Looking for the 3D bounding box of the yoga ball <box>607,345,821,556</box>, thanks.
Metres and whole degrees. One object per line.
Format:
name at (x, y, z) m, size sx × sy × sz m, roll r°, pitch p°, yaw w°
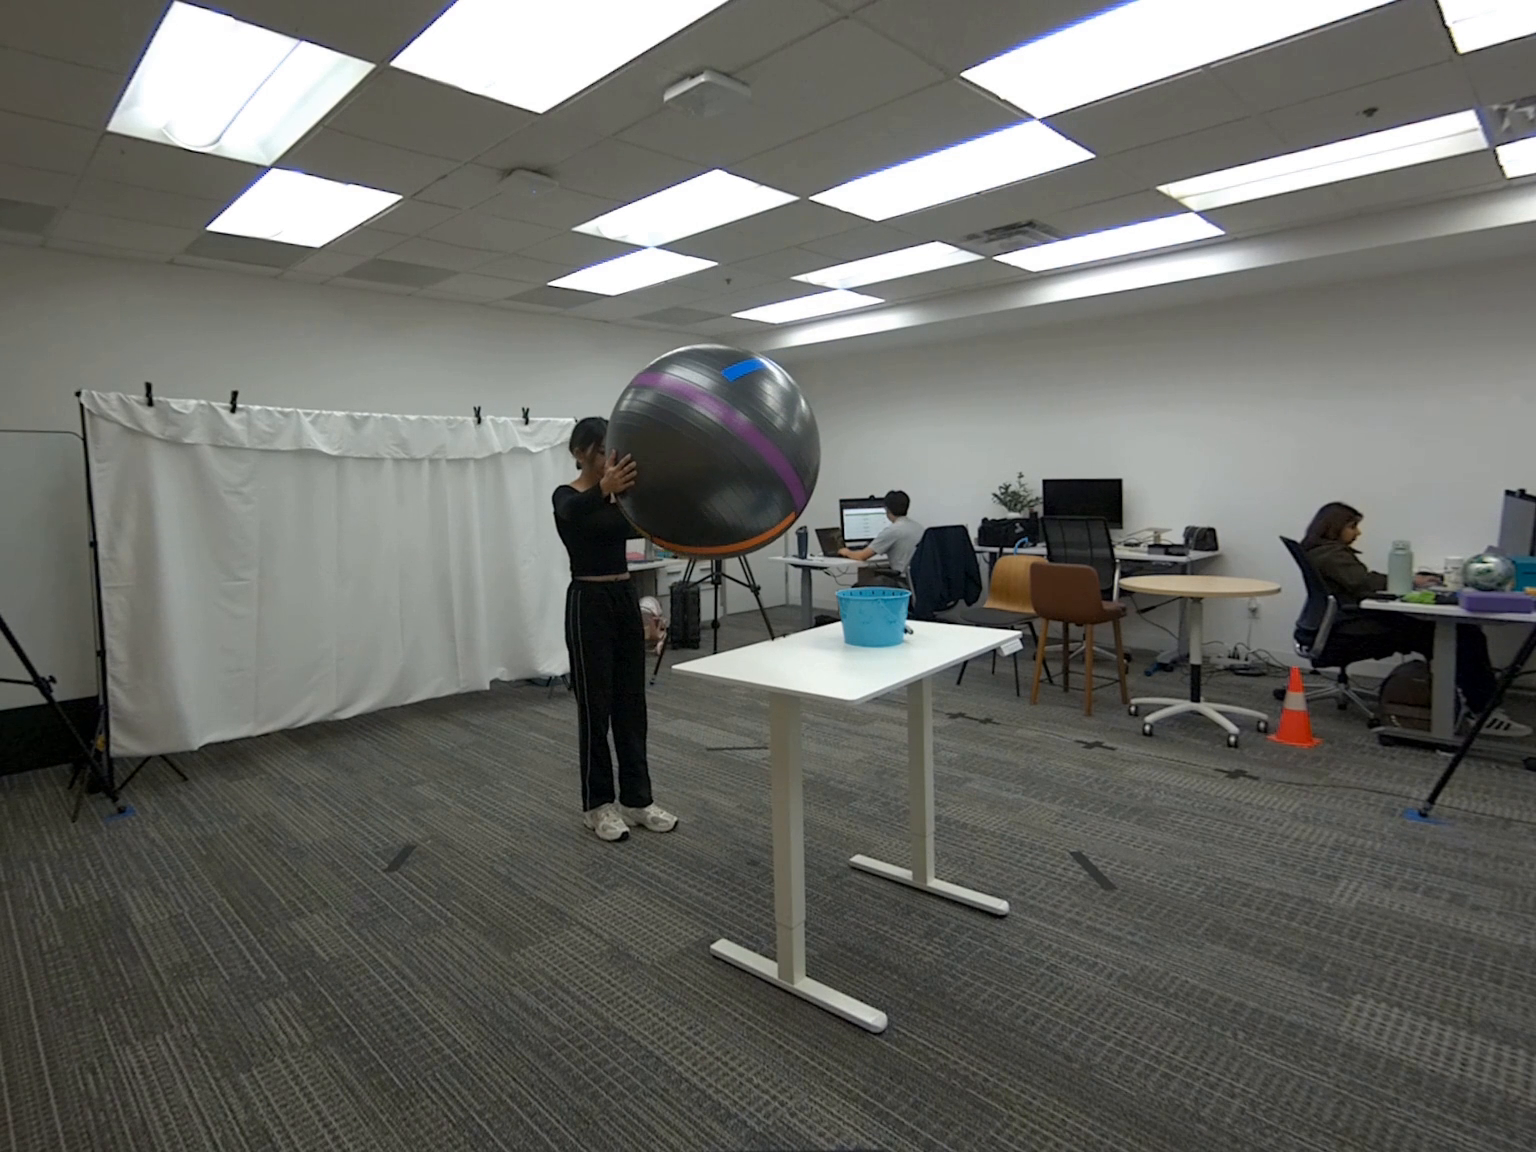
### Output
yoga ball at (-0.195, -0.427, 3.021) m, size 0.757 × 0.755 × 0.762 m, roll -1°, pitch 5°, yaw -2°
